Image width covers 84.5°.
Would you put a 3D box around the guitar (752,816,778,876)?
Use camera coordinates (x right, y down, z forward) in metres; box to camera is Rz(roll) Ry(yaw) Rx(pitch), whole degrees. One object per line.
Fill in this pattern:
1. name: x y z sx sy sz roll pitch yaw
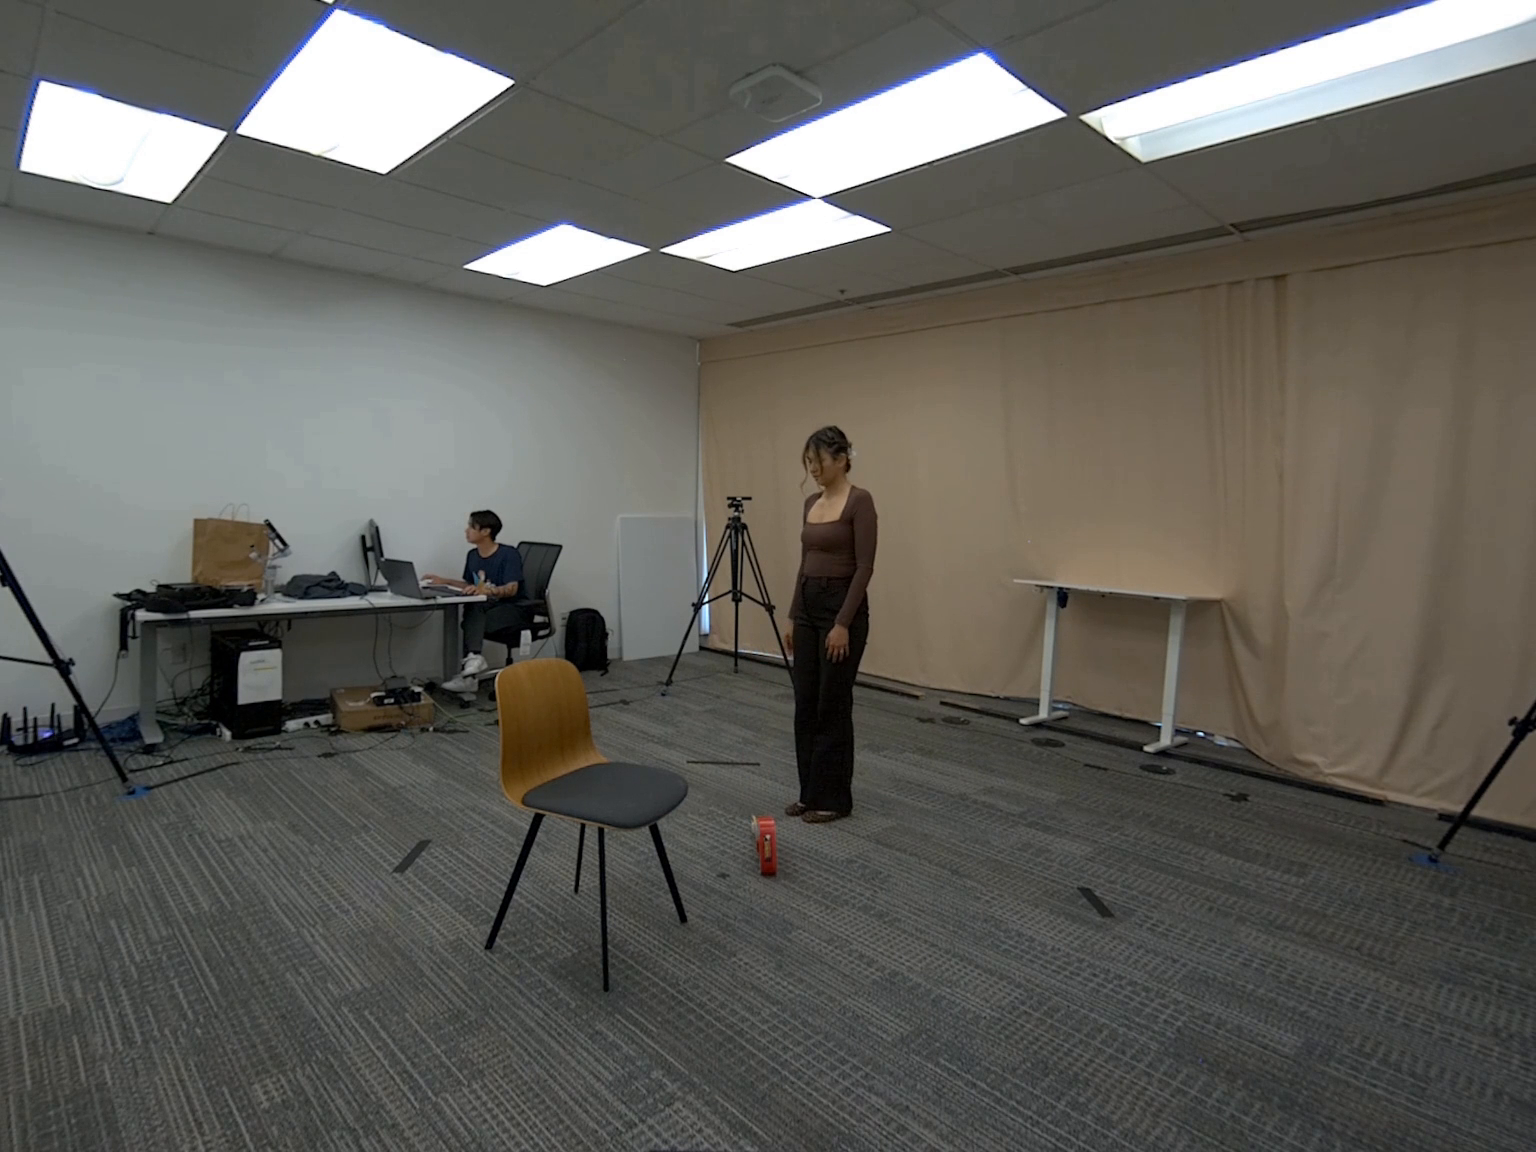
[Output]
1. guitar: -0.031 0.996 3.330 0.070 0.192 0.501 -3 5 -5
